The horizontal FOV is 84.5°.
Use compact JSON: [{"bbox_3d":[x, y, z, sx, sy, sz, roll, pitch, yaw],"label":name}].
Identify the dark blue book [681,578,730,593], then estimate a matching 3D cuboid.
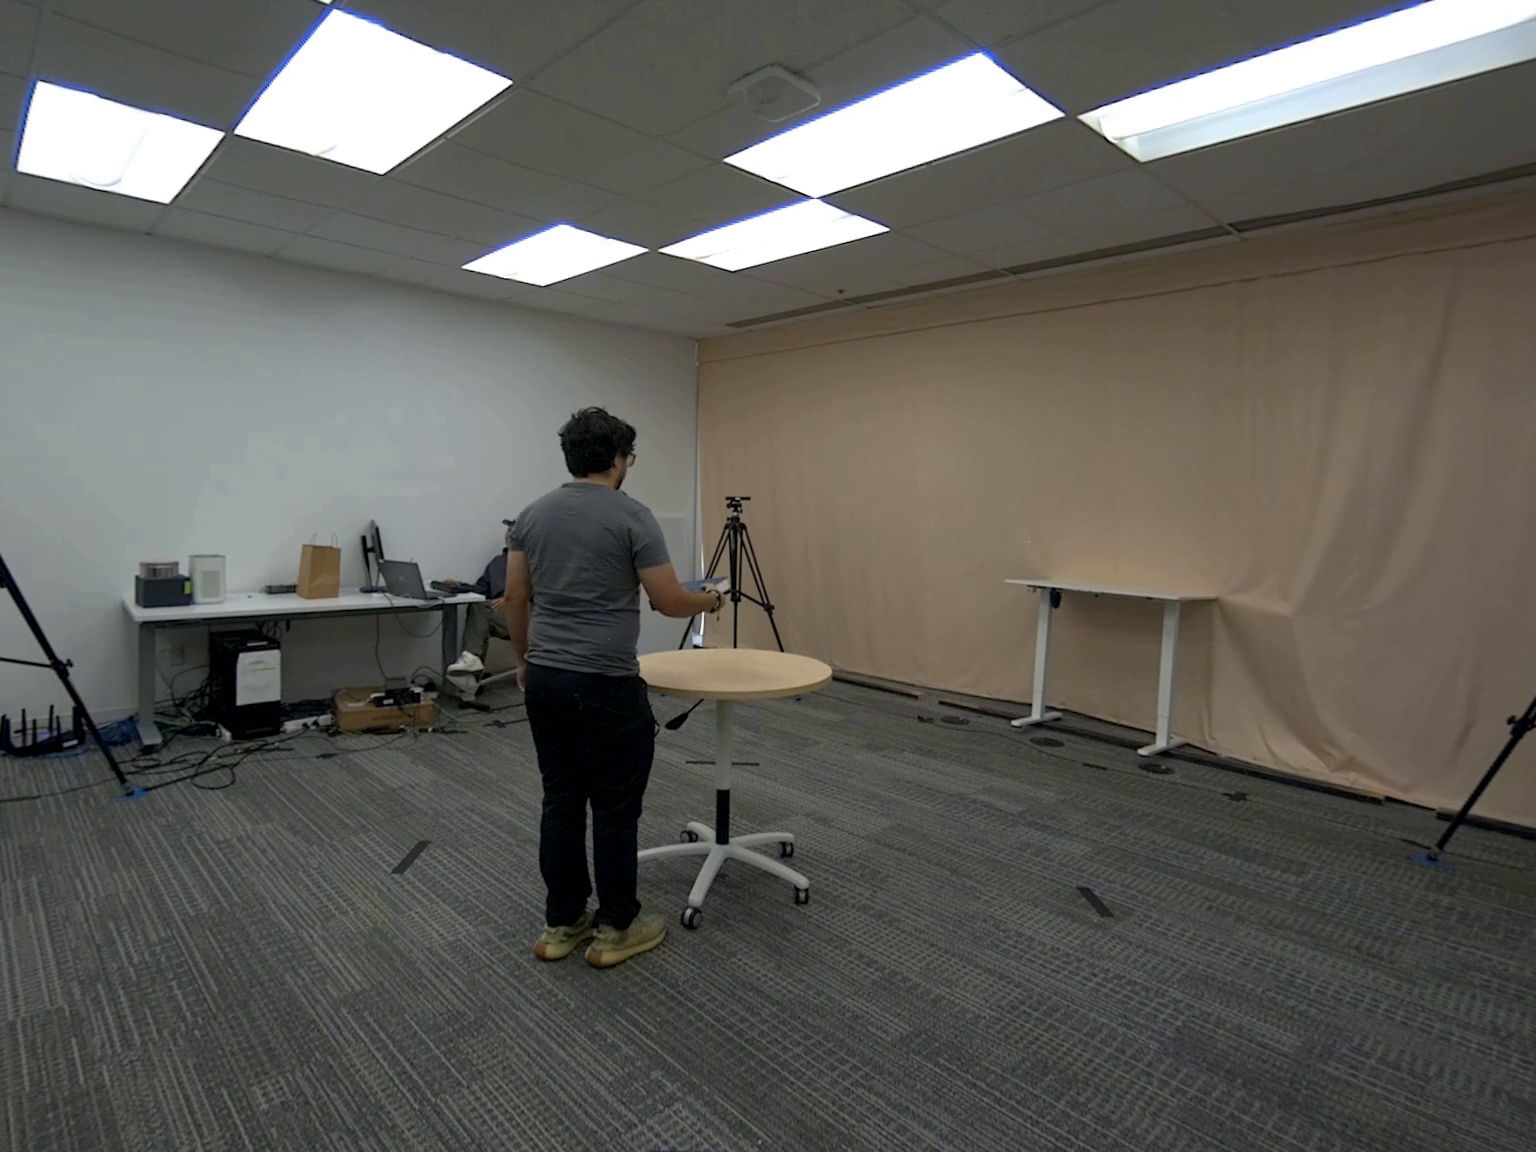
[{"bbox_3d":[-0.265,0.072,2.874,0.250,0.045,0.161,-9,13,39],"label":"dark blue book"}]
